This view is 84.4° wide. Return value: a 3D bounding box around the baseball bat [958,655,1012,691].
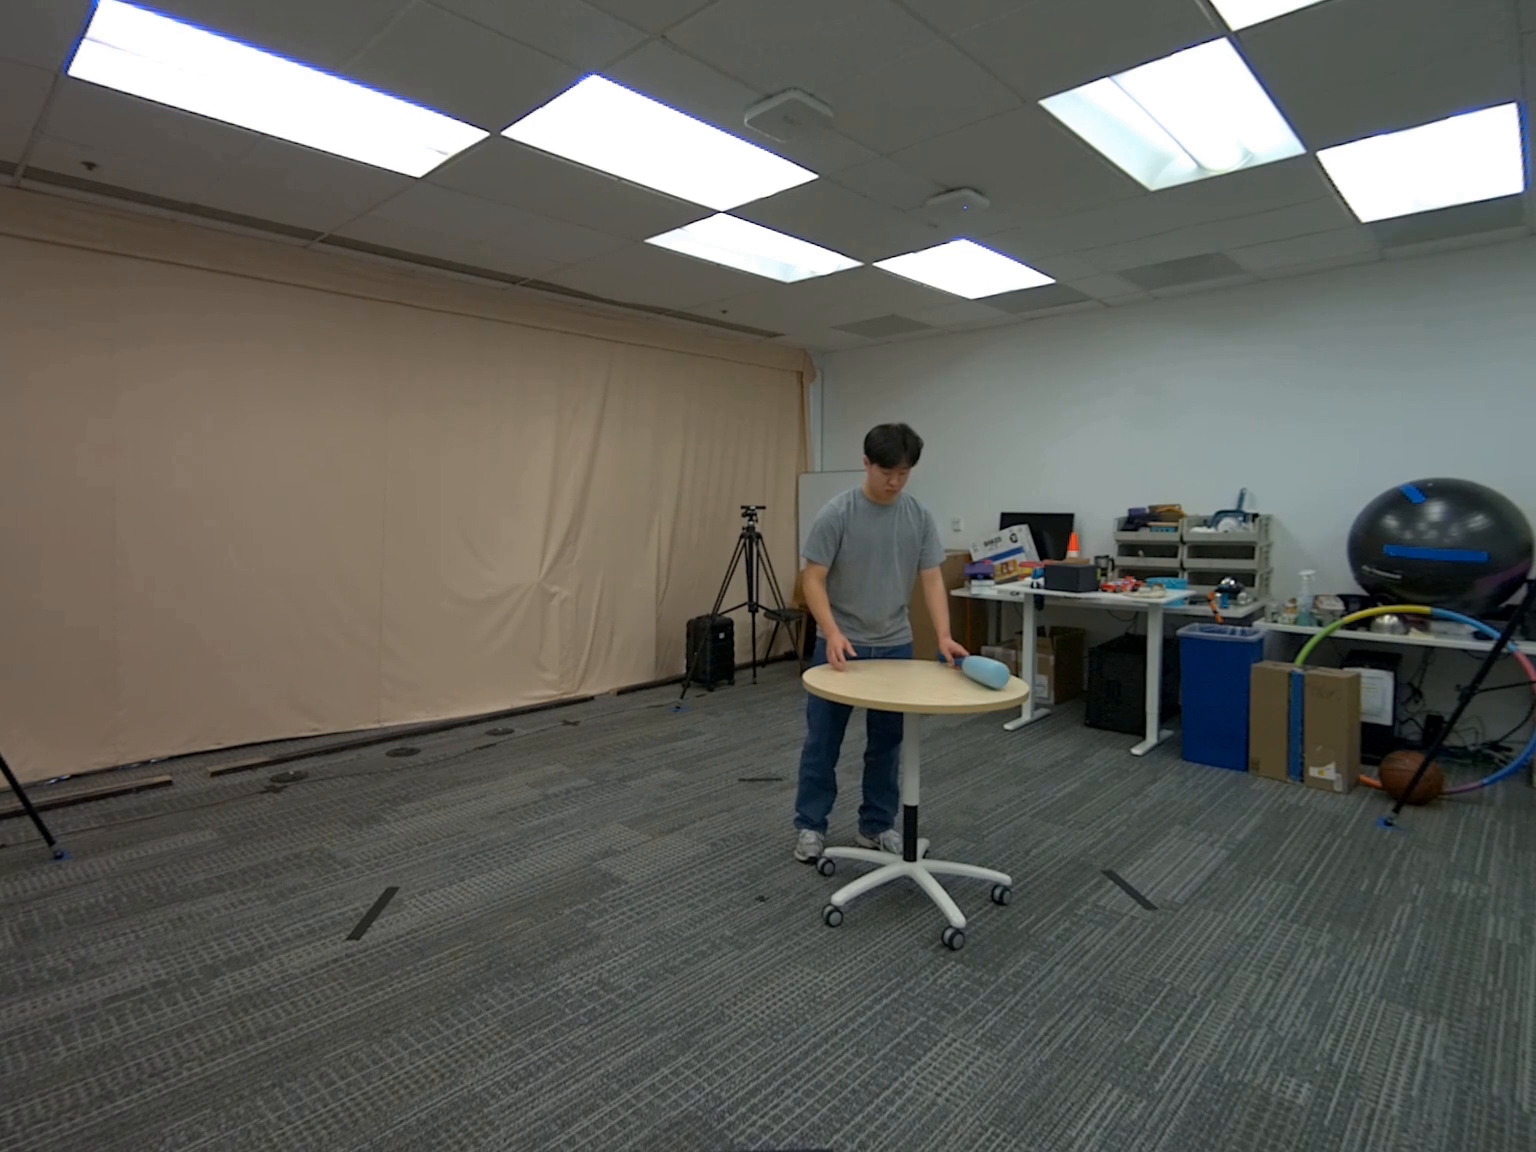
[{"bbox_3d":[0.724,0.323,3.024,0.088,0.089,0.547,0,1,-8],"label":"baseball bat"}]
